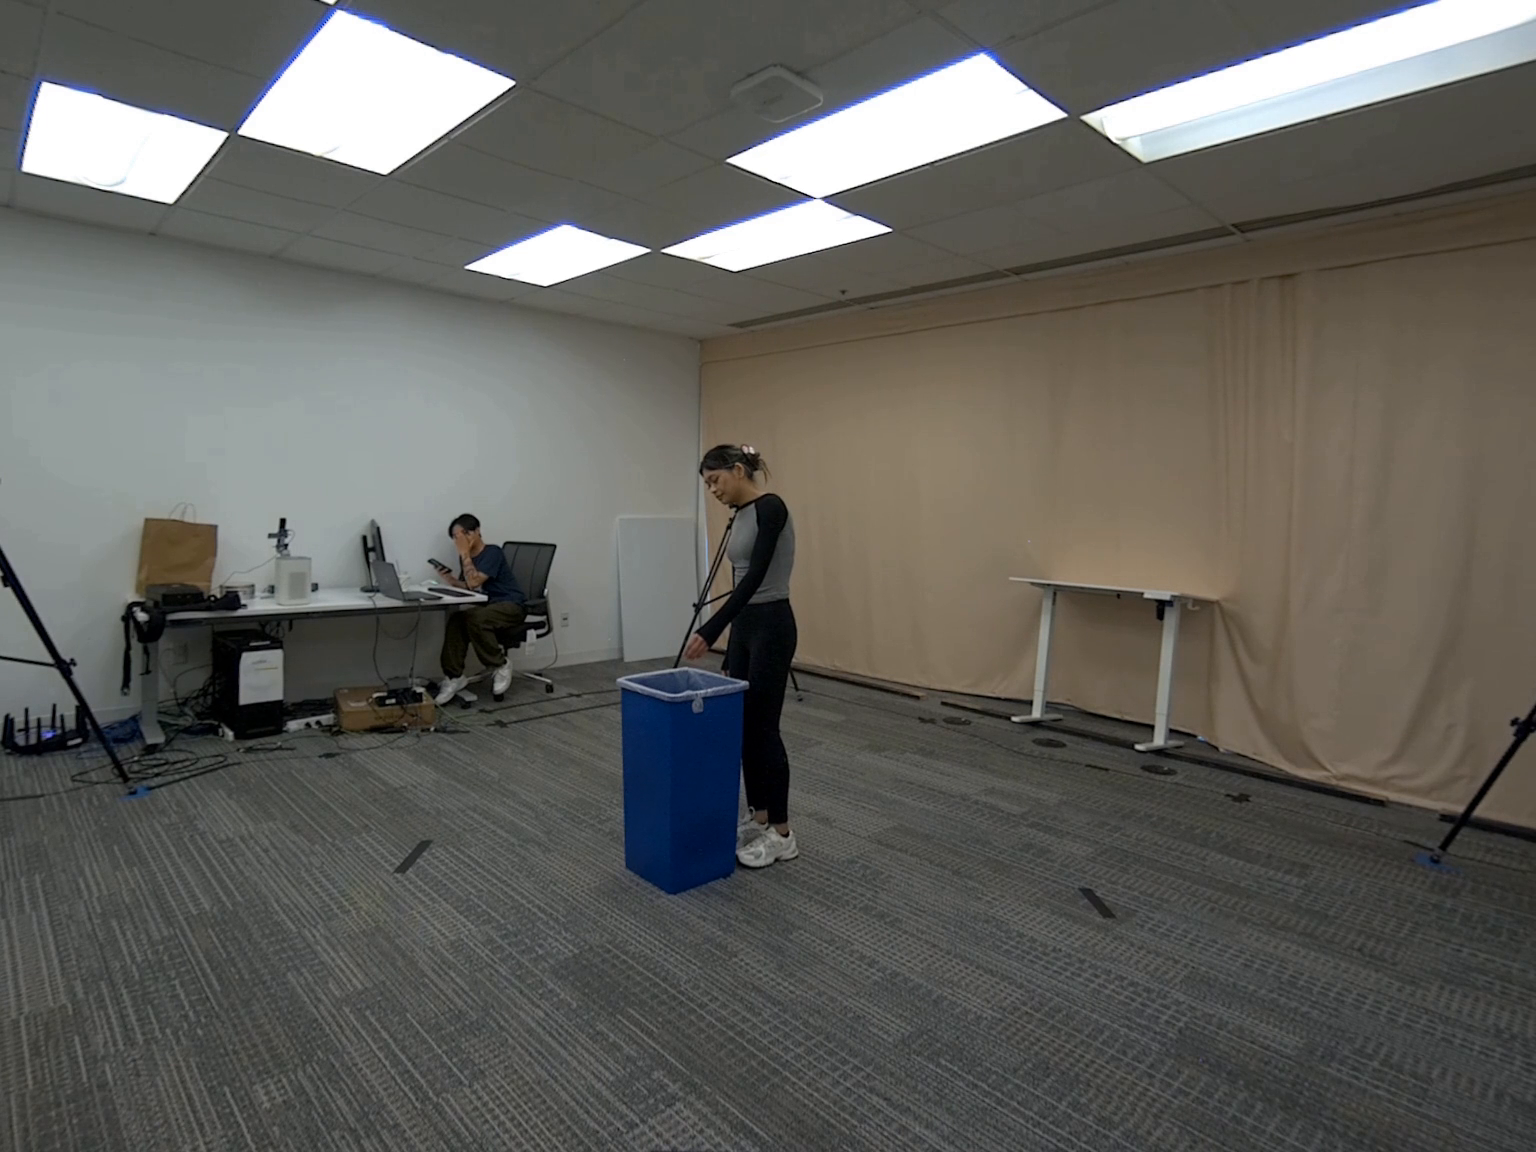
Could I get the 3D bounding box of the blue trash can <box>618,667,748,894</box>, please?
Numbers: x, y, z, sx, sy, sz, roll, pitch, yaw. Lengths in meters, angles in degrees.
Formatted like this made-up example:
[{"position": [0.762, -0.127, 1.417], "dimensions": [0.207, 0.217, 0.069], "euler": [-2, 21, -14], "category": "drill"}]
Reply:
[{"position": [-0.336, 0.743, 3.133], "dimensions": [0.369, 0.712, 0.384], "euler": [-1, 4, -42], "category": "blue trash can"}]
